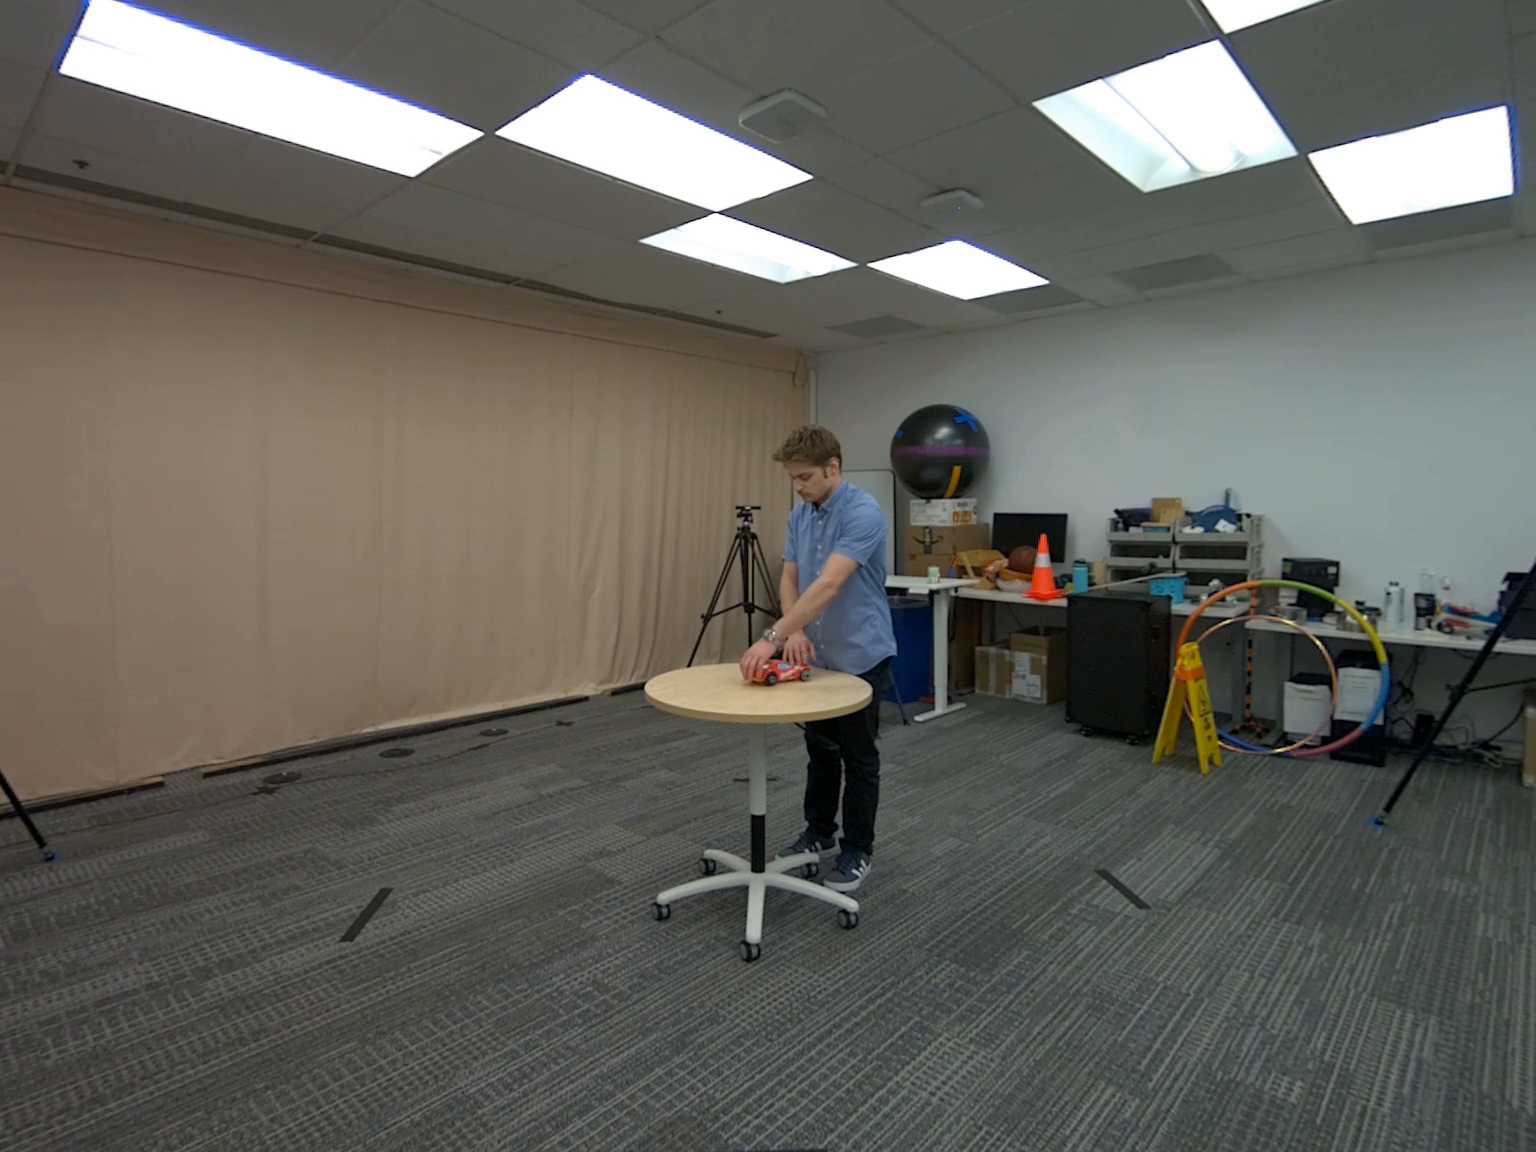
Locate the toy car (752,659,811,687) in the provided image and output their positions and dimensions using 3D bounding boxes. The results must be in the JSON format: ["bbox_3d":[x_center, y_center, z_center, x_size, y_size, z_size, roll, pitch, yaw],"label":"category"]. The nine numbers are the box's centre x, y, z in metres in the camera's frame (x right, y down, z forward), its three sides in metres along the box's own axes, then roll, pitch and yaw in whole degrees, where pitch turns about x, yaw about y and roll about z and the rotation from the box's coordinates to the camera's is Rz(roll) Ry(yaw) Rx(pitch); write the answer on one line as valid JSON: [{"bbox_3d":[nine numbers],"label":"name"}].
[{"bbox_3d":[0.022,0.338,2.911,0.247,0.083,0.134,10,-1,-30],"label":"toy car"}]
